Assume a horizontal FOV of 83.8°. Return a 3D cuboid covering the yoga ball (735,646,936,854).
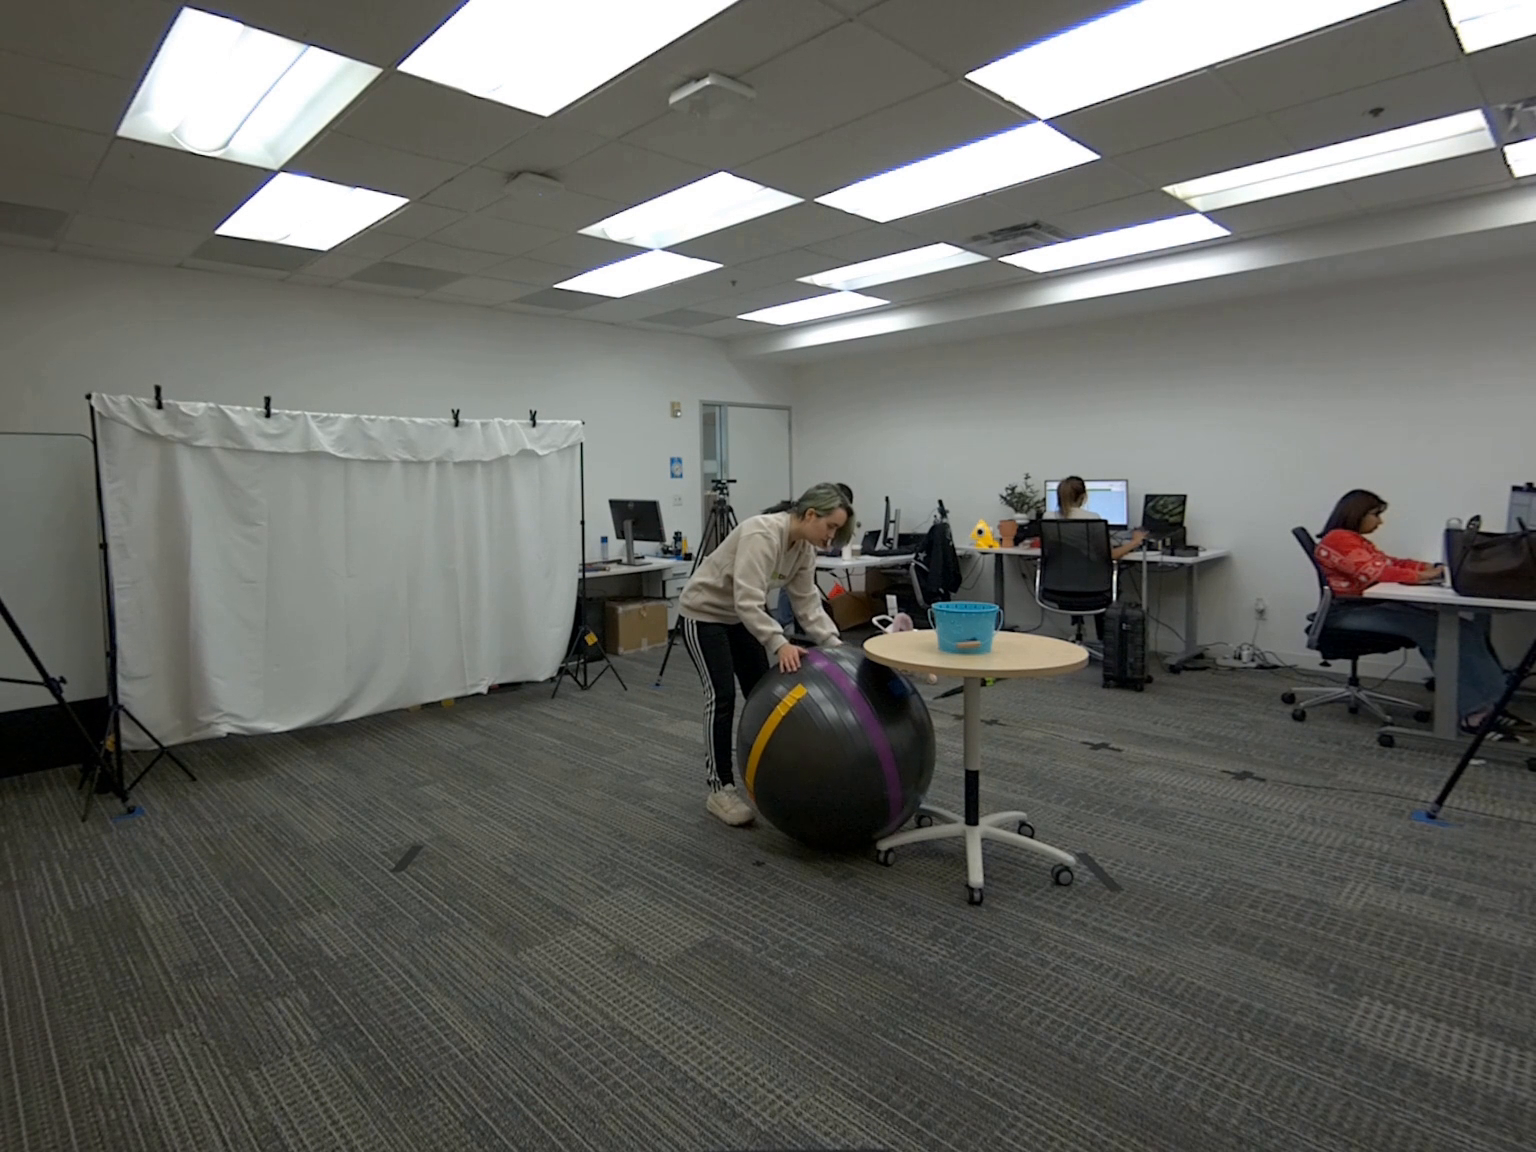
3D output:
[{"bbox_3d":[0.251,0.654,3.277,0.757,0.755,0.762,-1,5,-2],"label":"yoga ball"}]
